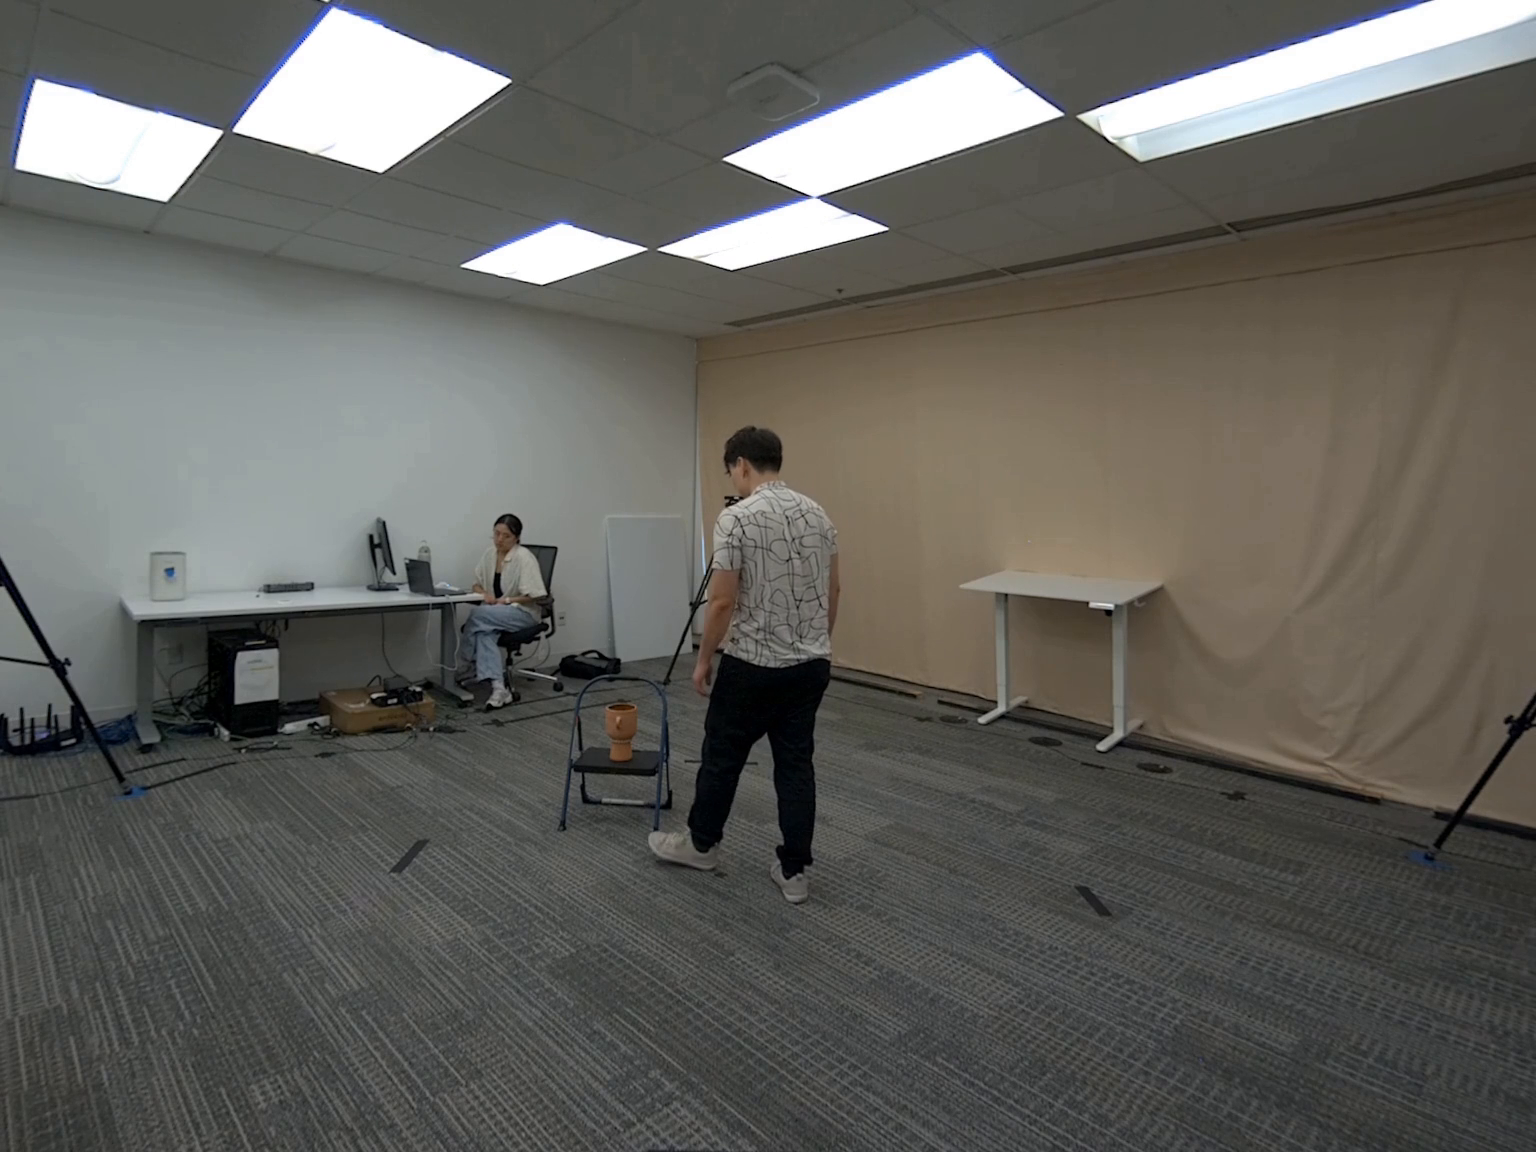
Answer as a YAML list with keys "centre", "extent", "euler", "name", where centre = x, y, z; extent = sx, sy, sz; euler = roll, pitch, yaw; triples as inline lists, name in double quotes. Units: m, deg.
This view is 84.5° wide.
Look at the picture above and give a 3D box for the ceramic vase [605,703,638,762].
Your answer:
- centre: [-0.638, 0.669, 3.624]
  extent: [0.138, 0.219, 0.155]
  euler: [3, 4, 41]
  name: "ceramic vase"
